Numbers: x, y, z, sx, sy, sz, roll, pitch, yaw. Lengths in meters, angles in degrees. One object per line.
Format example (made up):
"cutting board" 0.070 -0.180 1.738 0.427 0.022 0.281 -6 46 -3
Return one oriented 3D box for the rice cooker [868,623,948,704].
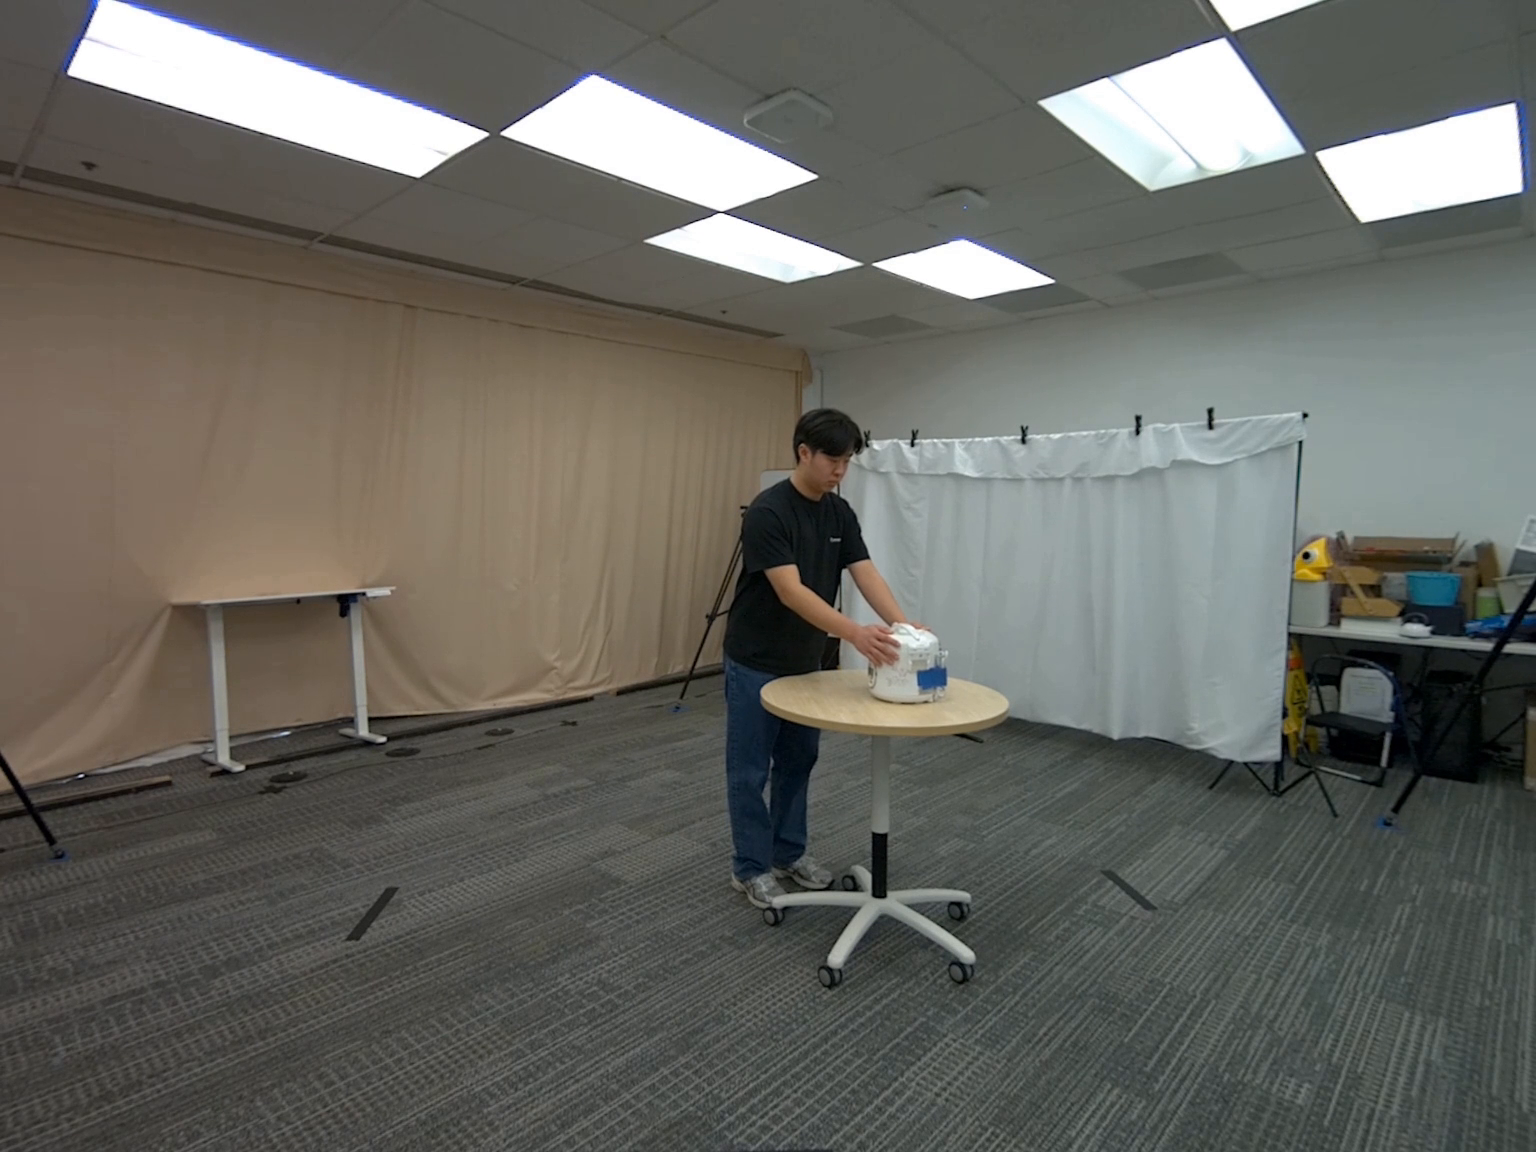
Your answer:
"rice cooker" 0.425 0.264 2.606 0.214 0.232 0.224 -1 3 -16
